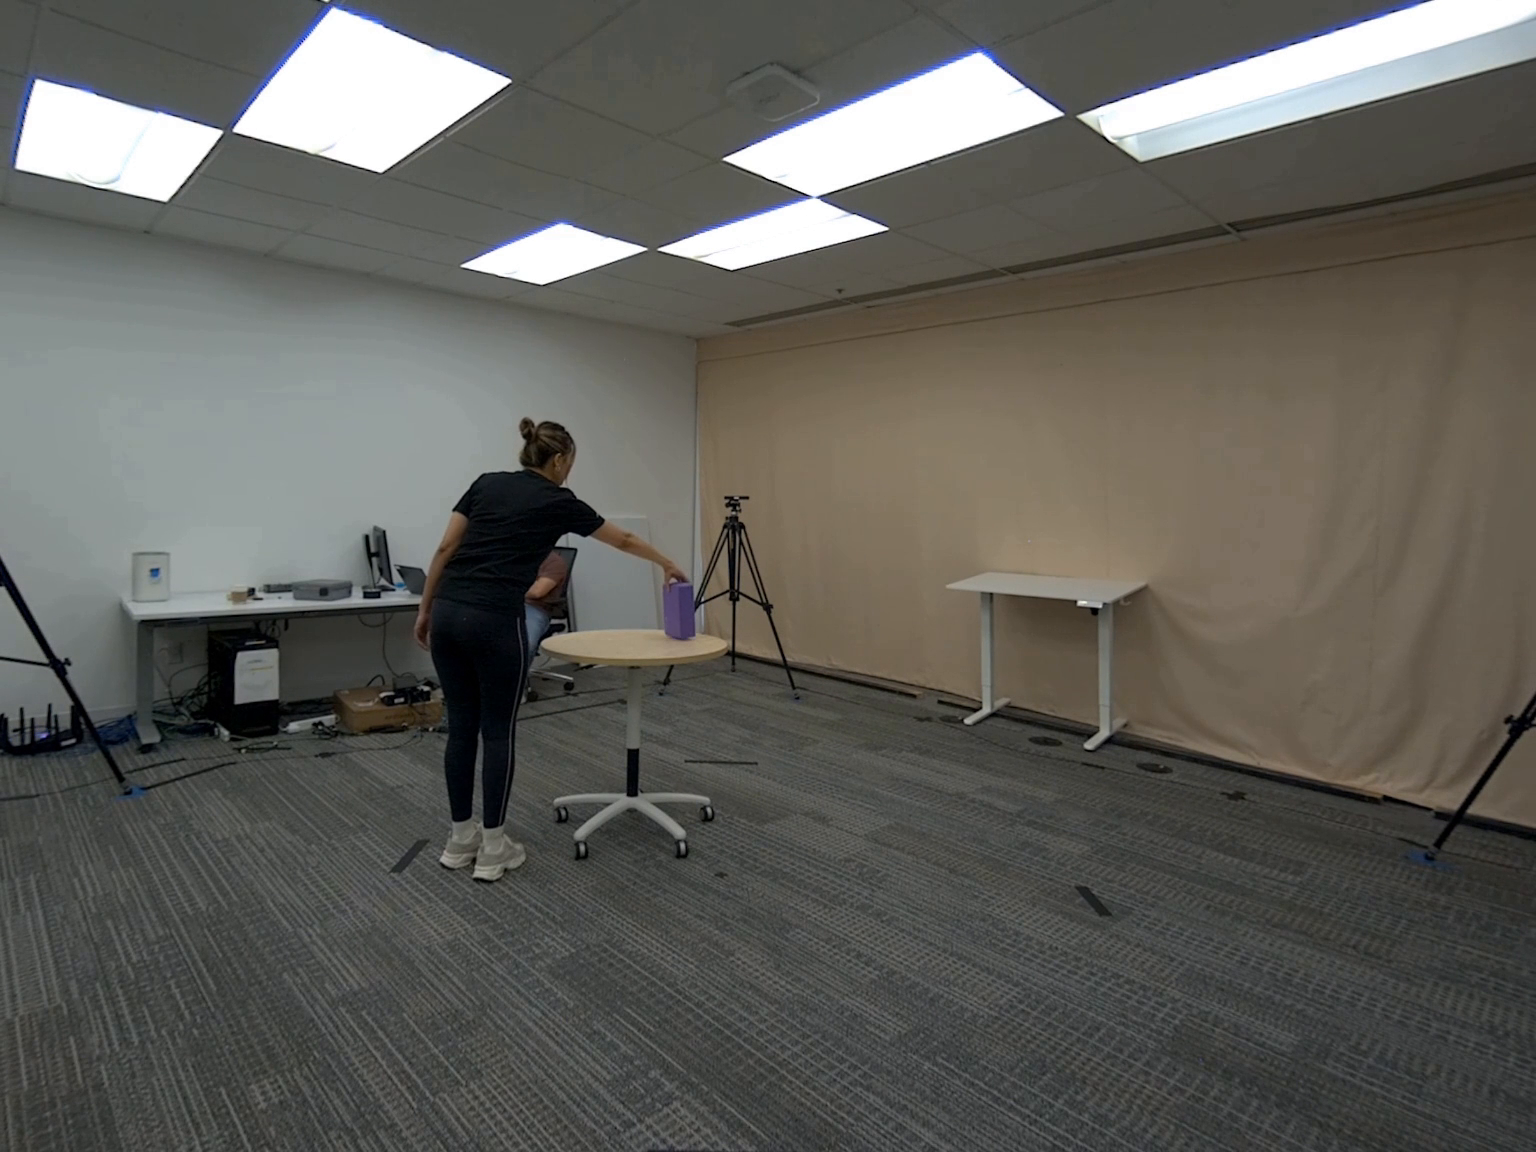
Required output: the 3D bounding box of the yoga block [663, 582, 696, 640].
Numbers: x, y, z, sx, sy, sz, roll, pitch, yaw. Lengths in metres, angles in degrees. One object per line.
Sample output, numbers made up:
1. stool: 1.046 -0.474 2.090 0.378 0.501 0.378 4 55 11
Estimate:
1. yoga block: -0.396 0.144 3.628 0.075 0.229 0.152 -5 5 -35
